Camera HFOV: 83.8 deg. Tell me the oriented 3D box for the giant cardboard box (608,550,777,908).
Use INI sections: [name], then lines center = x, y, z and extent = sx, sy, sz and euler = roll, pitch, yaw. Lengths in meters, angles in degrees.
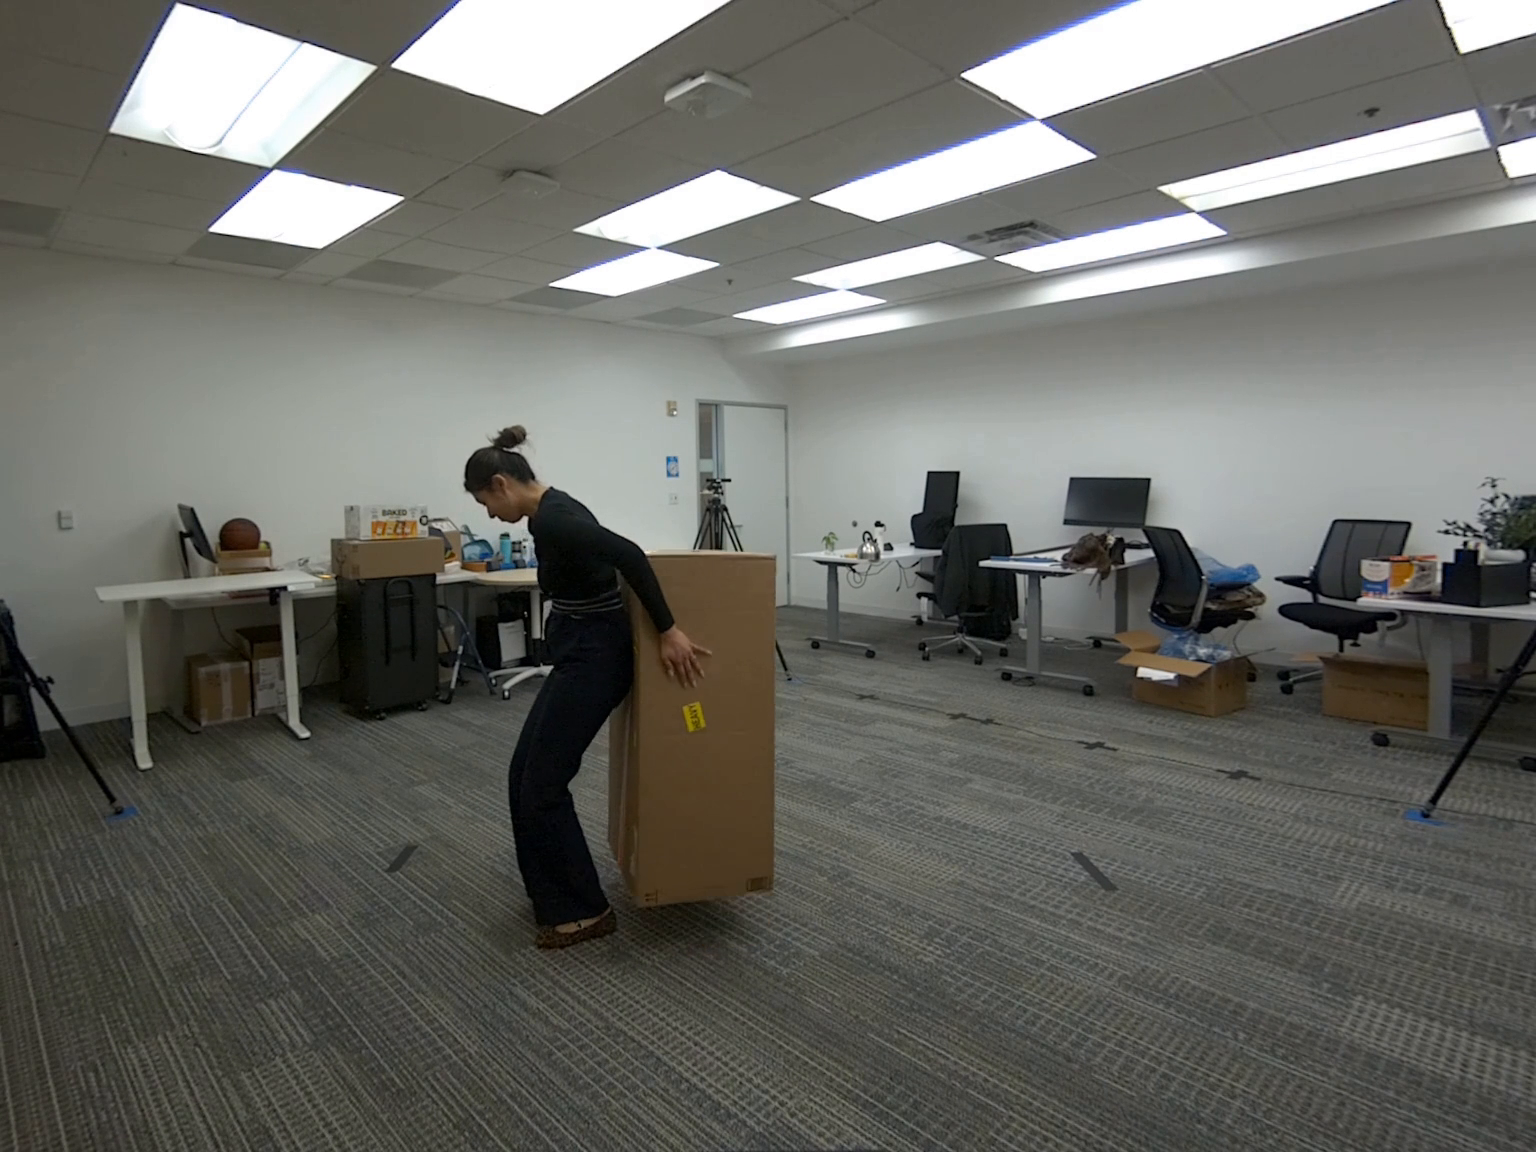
[giant cardboard box]
center = -0.256, 0.430, 2.804
extent = 0.419, 1.025, 0.588
euler = 0, 1, -19
